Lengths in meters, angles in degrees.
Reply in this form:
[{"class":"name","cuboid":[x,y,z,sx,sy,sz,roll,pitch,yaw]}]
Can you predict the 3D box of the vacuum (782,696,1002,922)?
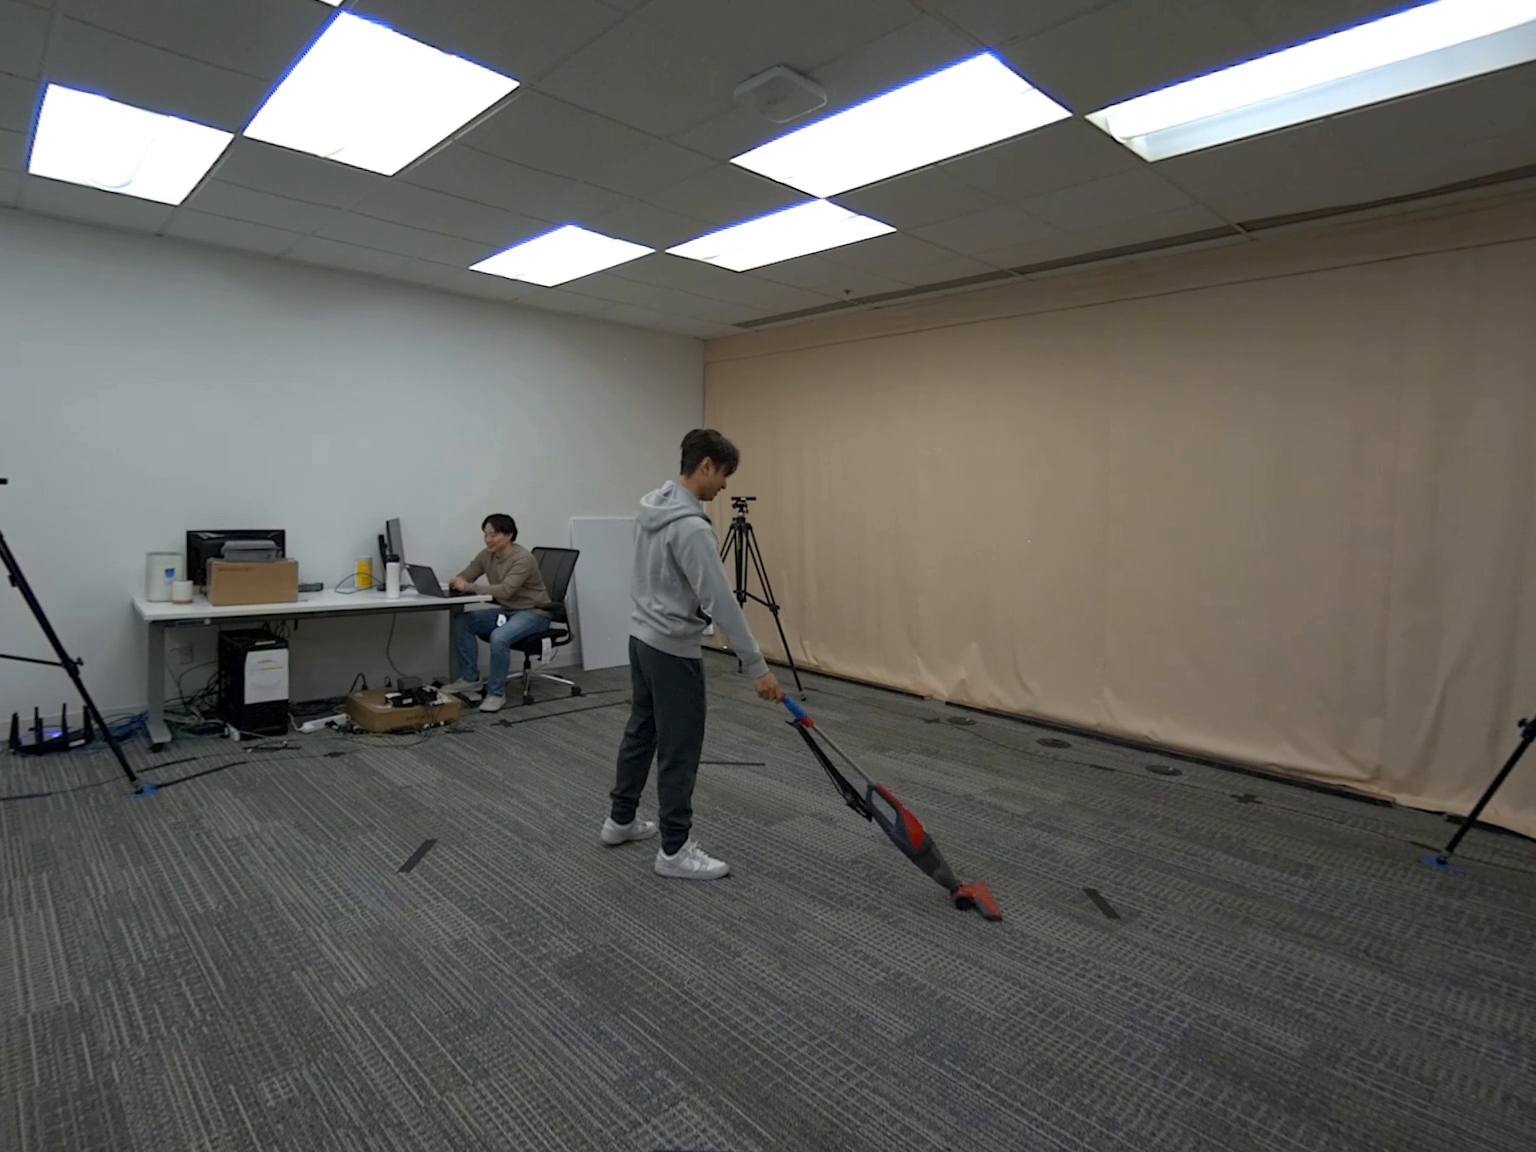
[{"class":"vacuum","cuboid":[0.324,0.768,2.955,1.050,0.144,0.252,43,4,1]}]
